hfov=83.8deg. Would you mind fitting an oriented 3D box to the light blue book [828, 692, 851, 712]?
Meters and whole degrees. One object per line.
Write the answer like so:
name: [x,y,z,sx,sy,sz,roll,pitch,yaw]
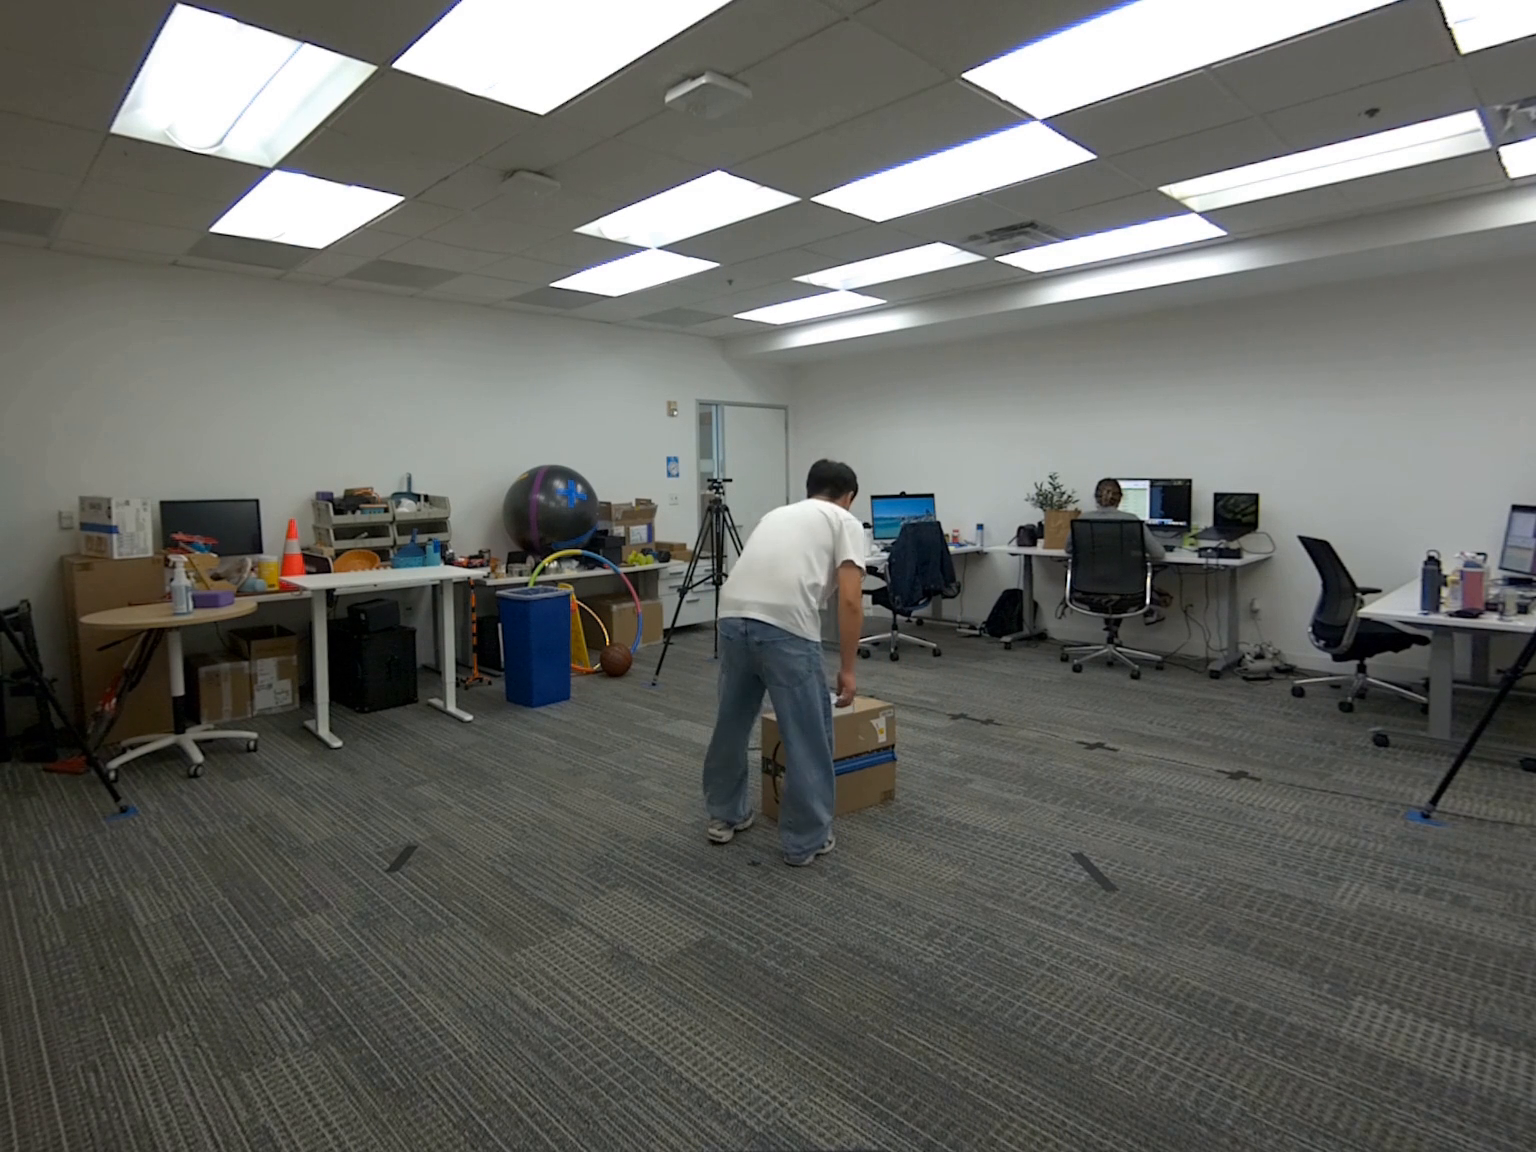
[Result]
light blue book: [0.219,0.537,3.627,0.187,0.059,0.268,-6,7,-35]
